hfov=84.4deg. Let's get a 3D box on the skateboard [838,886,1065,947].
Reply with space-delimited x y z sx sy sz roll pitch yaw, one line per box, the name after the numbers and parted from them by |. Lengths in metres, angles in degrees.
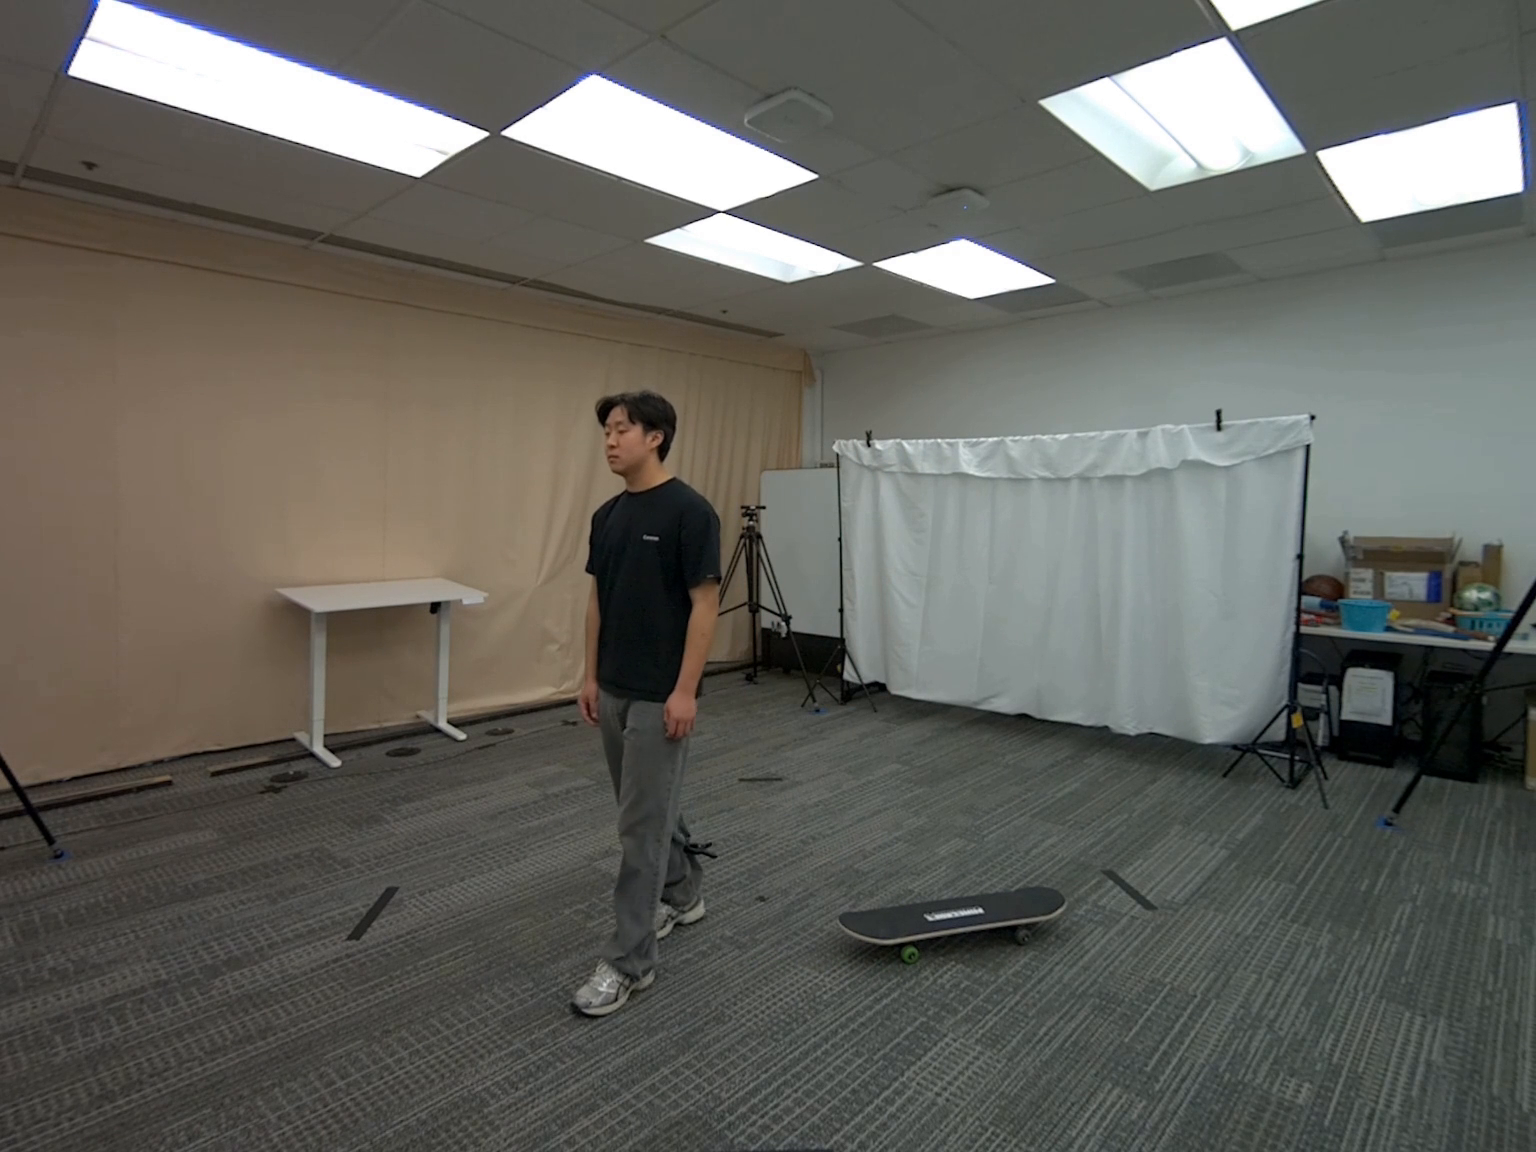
0.609 1.117 2.679 0.773 0.110 0.197 -1 5 -15 | skateboard
